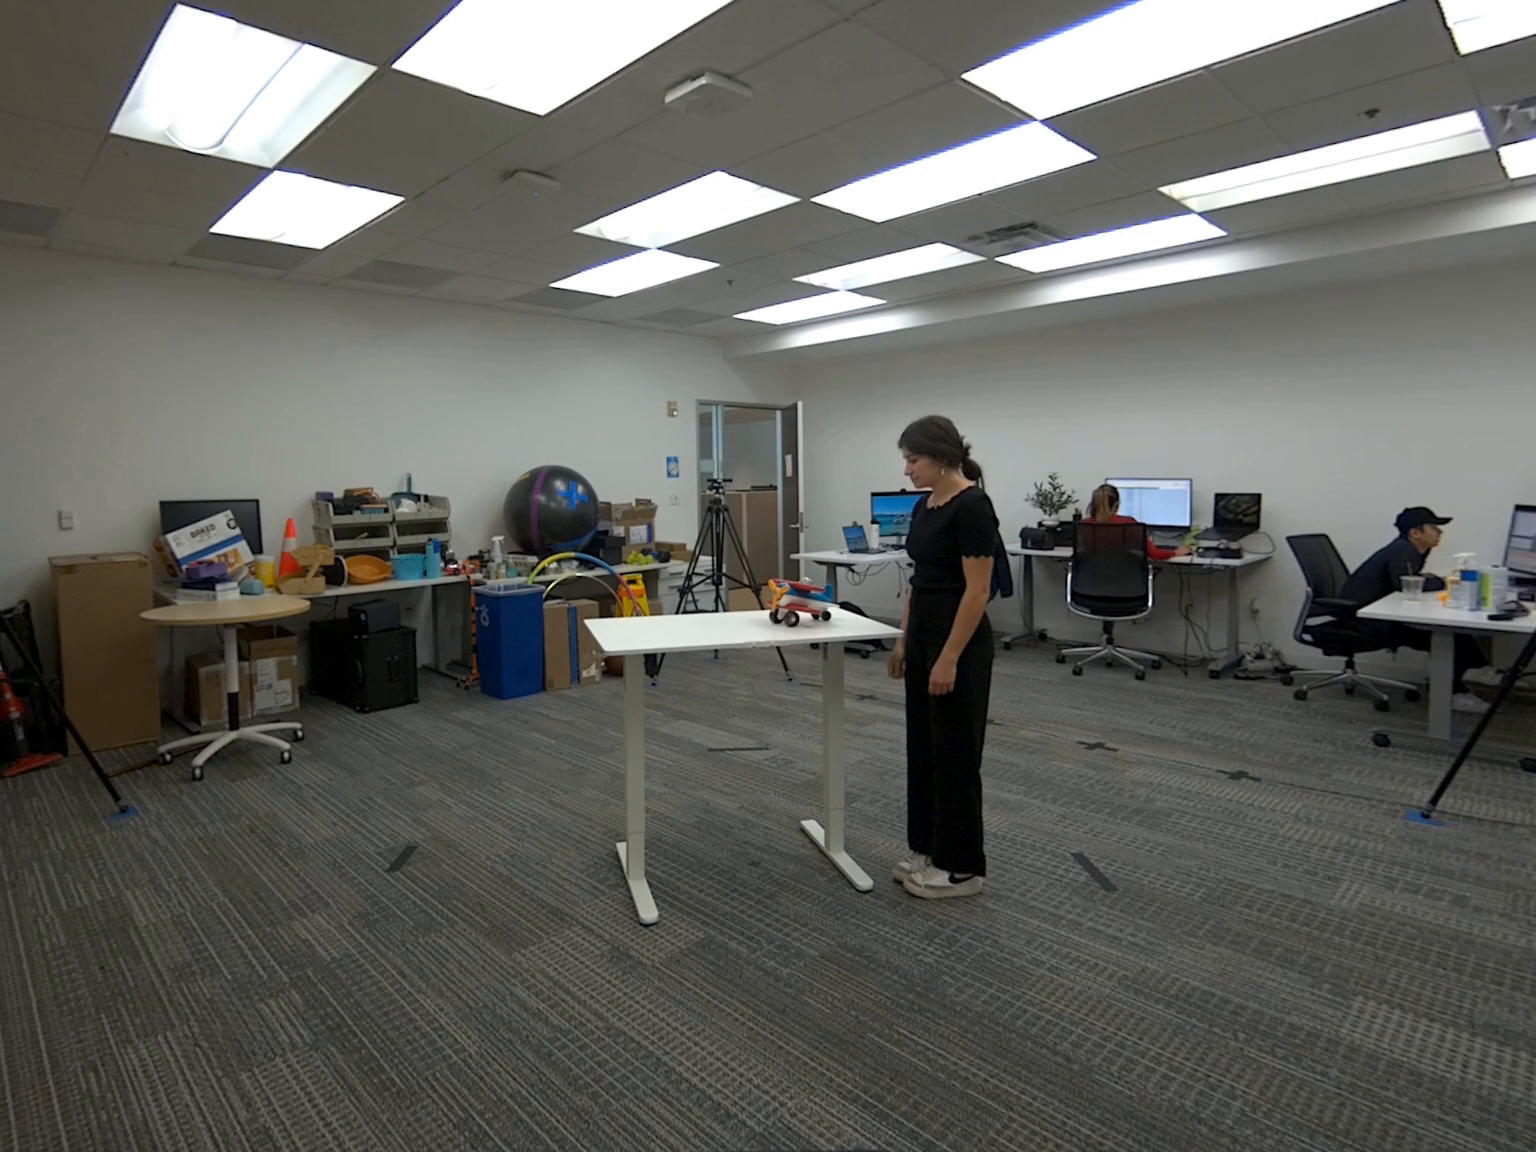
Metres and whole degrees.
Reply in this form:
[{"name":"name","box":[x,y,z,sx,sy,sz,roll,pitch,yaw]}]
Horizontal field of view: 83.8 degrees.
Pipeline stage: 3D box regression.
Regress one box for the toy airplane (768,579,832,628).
[{"name":"toy airplane","box":[0.114,0.088,3.067,0.257,0.155,0.254,4,8,27]}]
